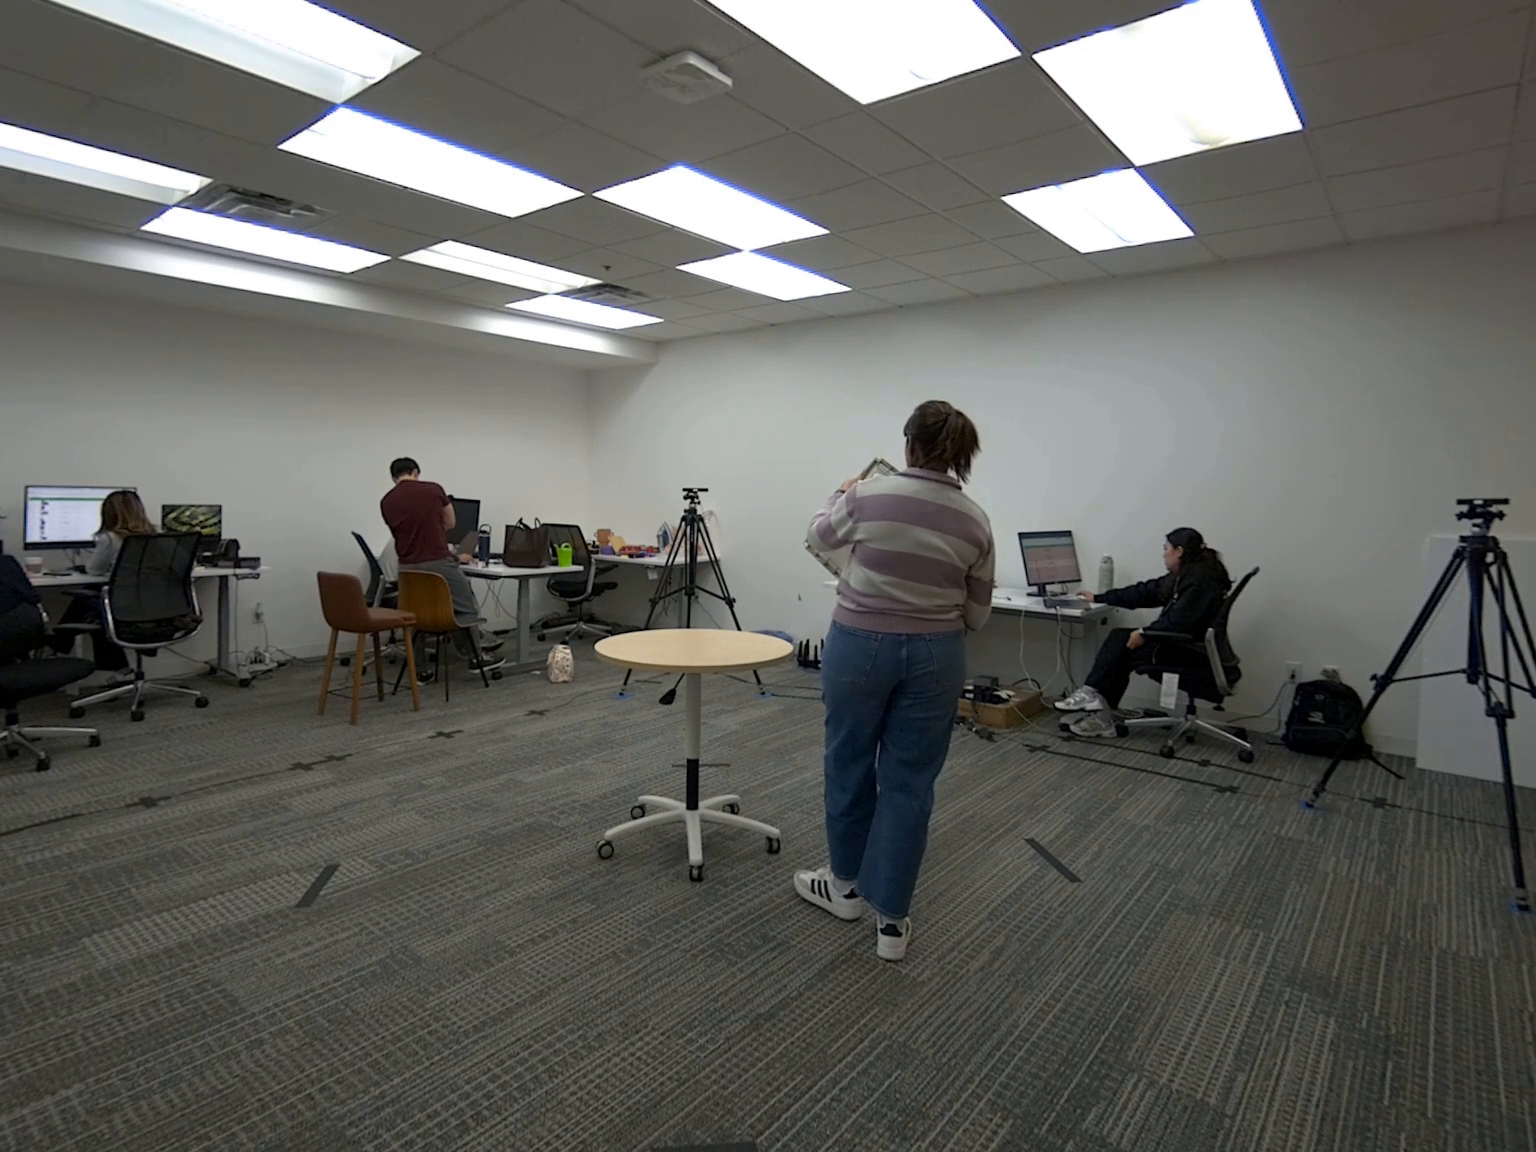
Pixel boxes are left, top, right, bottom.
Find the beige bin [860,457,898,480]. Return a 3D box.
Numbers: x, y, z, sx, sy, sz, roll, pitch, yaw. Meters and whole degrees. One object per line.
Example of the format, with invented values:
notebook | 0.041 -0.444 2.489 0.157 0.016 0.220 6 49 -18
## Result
beige bin | 0.377 -0.145 2.959 0.393 0.422 0.181 45 7 38
